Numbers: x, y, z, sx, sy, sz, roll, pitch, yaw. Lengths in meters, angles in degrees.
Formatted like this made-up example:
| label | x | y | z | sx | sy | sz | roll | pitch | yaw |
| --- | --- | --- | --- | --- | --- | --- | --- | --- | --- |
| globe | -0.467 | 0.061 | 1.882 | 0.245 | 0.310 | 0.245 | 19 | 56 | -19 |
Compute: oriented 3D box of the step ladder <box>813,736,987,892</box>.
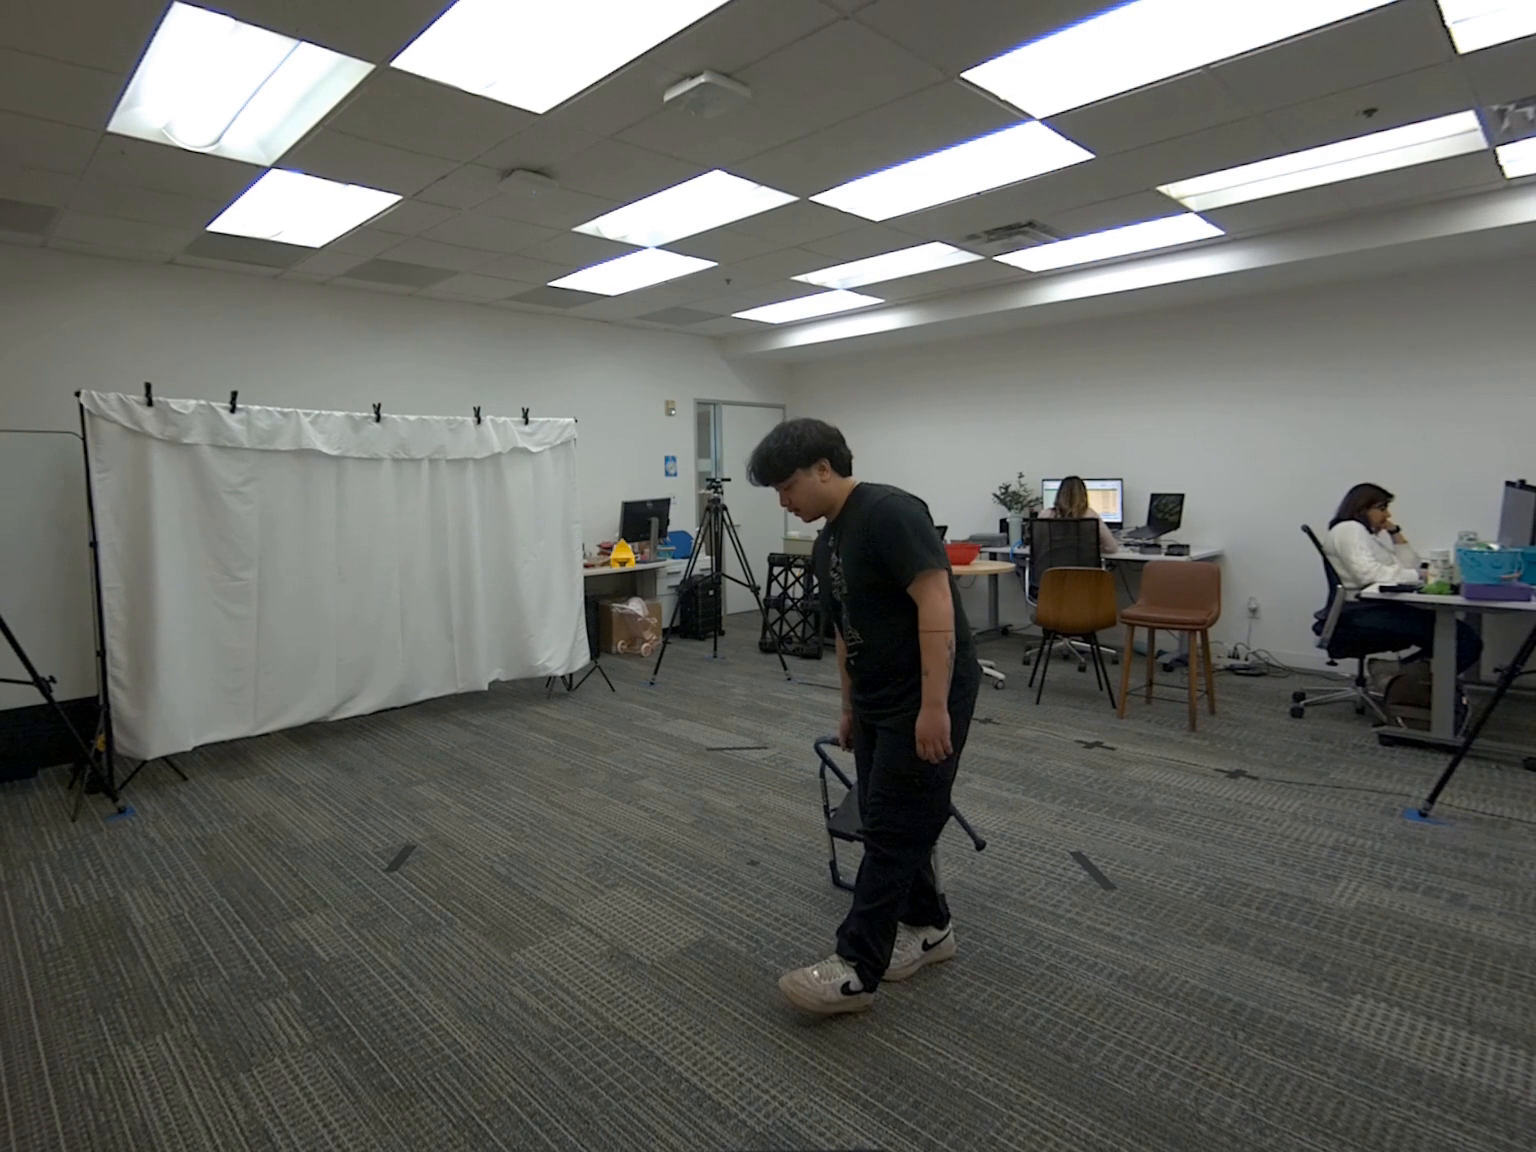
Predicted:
| label | x | y | z | sx | sy | sz | roll | pitch | yaw |
| --- | --- | --- | --- | --- | --- | --- | --- | --- | --- |
| step ladder | 0.398 | 0.731 | 2.791 | 0.443 | 0.590 | 0.348 | 3 | 32 | 39 |
